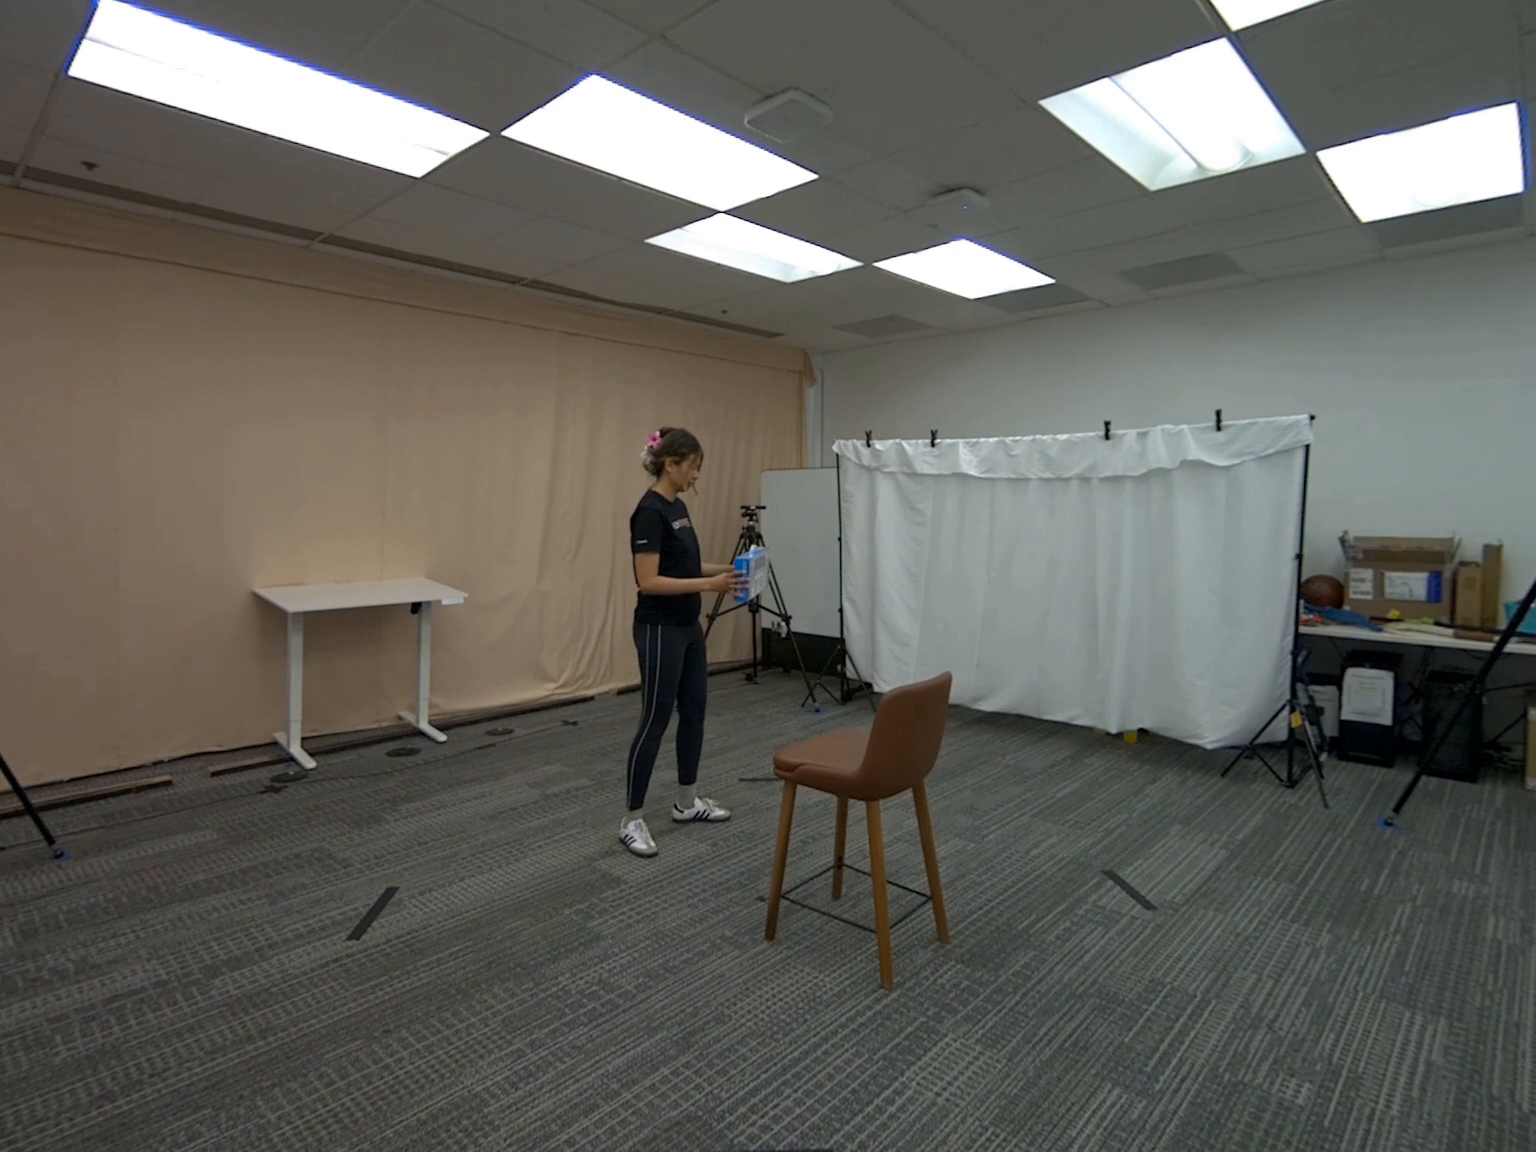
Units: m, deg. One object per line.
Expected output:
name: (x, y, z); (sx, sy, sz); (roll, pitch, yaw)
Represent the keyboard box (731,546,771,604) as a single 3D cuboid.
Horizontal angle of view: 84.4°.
keyboard box: (-0.055, -0.010, 3.486); (0.060, 0.175, 0.432); (2, 7, 11)
